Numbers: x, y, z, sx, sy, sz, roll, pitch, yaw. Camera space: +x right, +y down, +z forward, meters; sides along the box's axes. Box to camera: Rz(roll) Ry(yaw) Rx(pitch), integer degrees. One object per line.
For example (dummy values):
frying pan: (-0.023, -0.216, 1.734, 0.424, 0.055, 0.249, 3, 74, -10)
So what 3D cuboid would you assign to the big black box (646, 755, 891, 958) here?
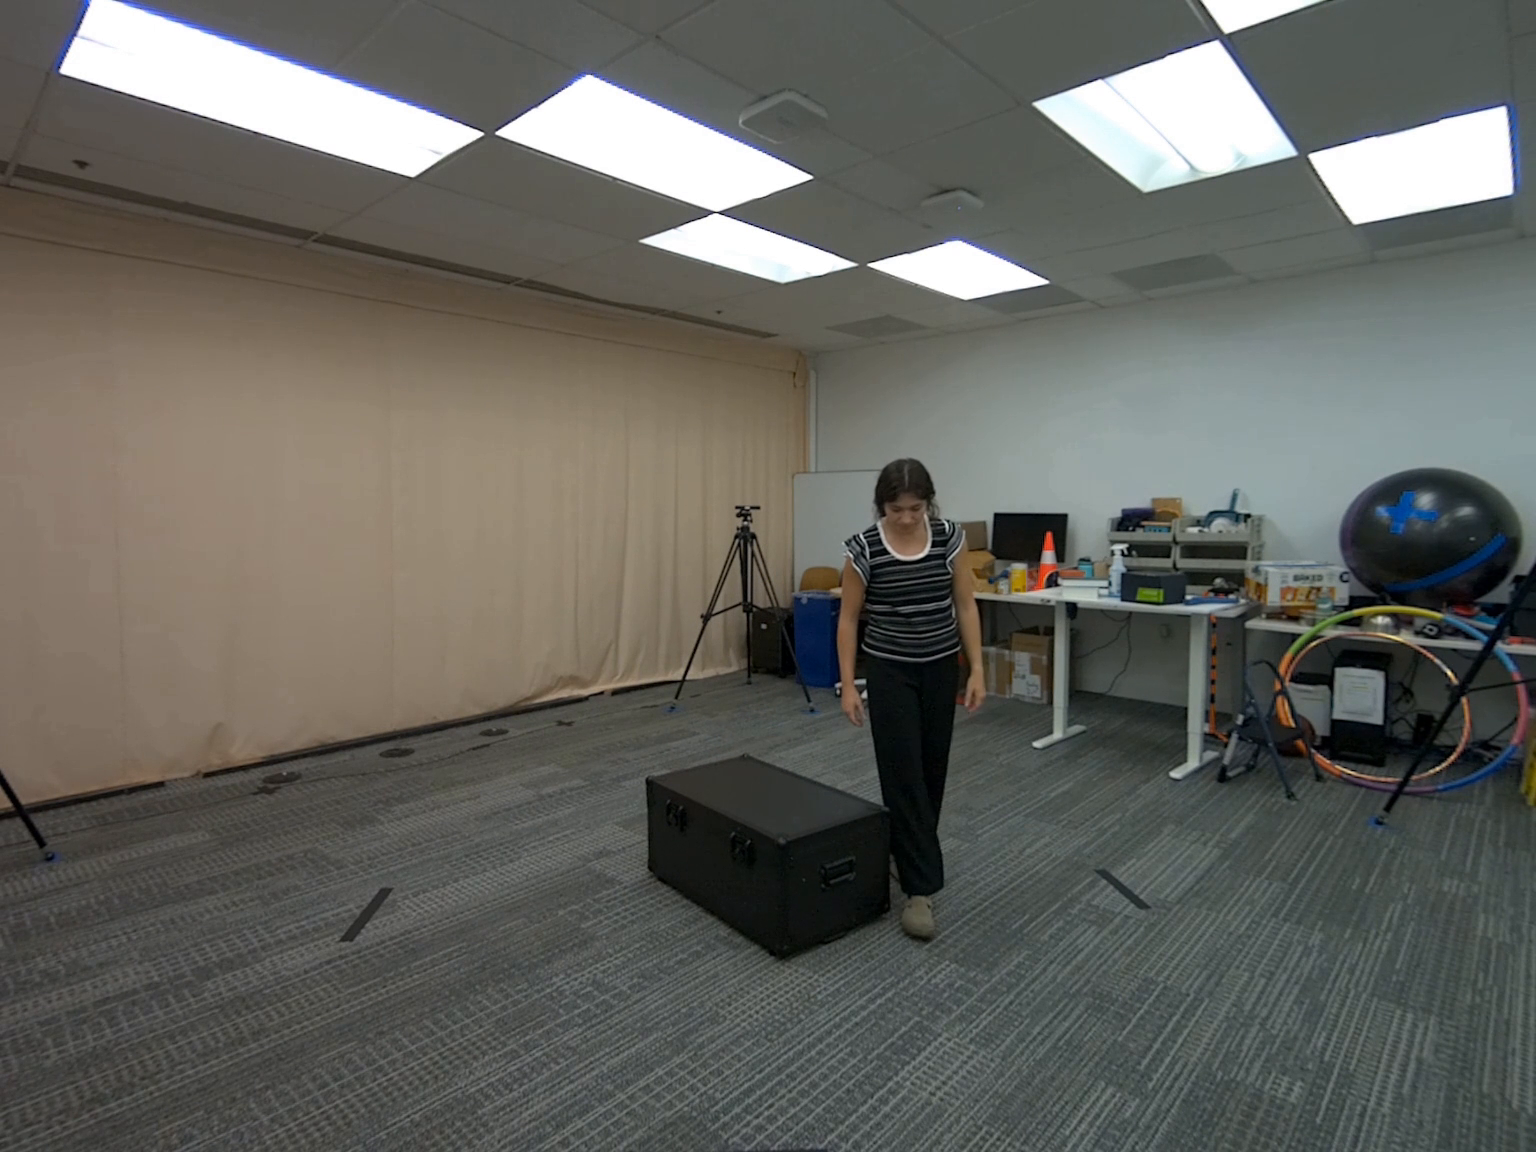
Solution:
big black box: (-0.039, 0.952, 3.025, 0.505, 0.395, 0.890, -3, 6, -39)
